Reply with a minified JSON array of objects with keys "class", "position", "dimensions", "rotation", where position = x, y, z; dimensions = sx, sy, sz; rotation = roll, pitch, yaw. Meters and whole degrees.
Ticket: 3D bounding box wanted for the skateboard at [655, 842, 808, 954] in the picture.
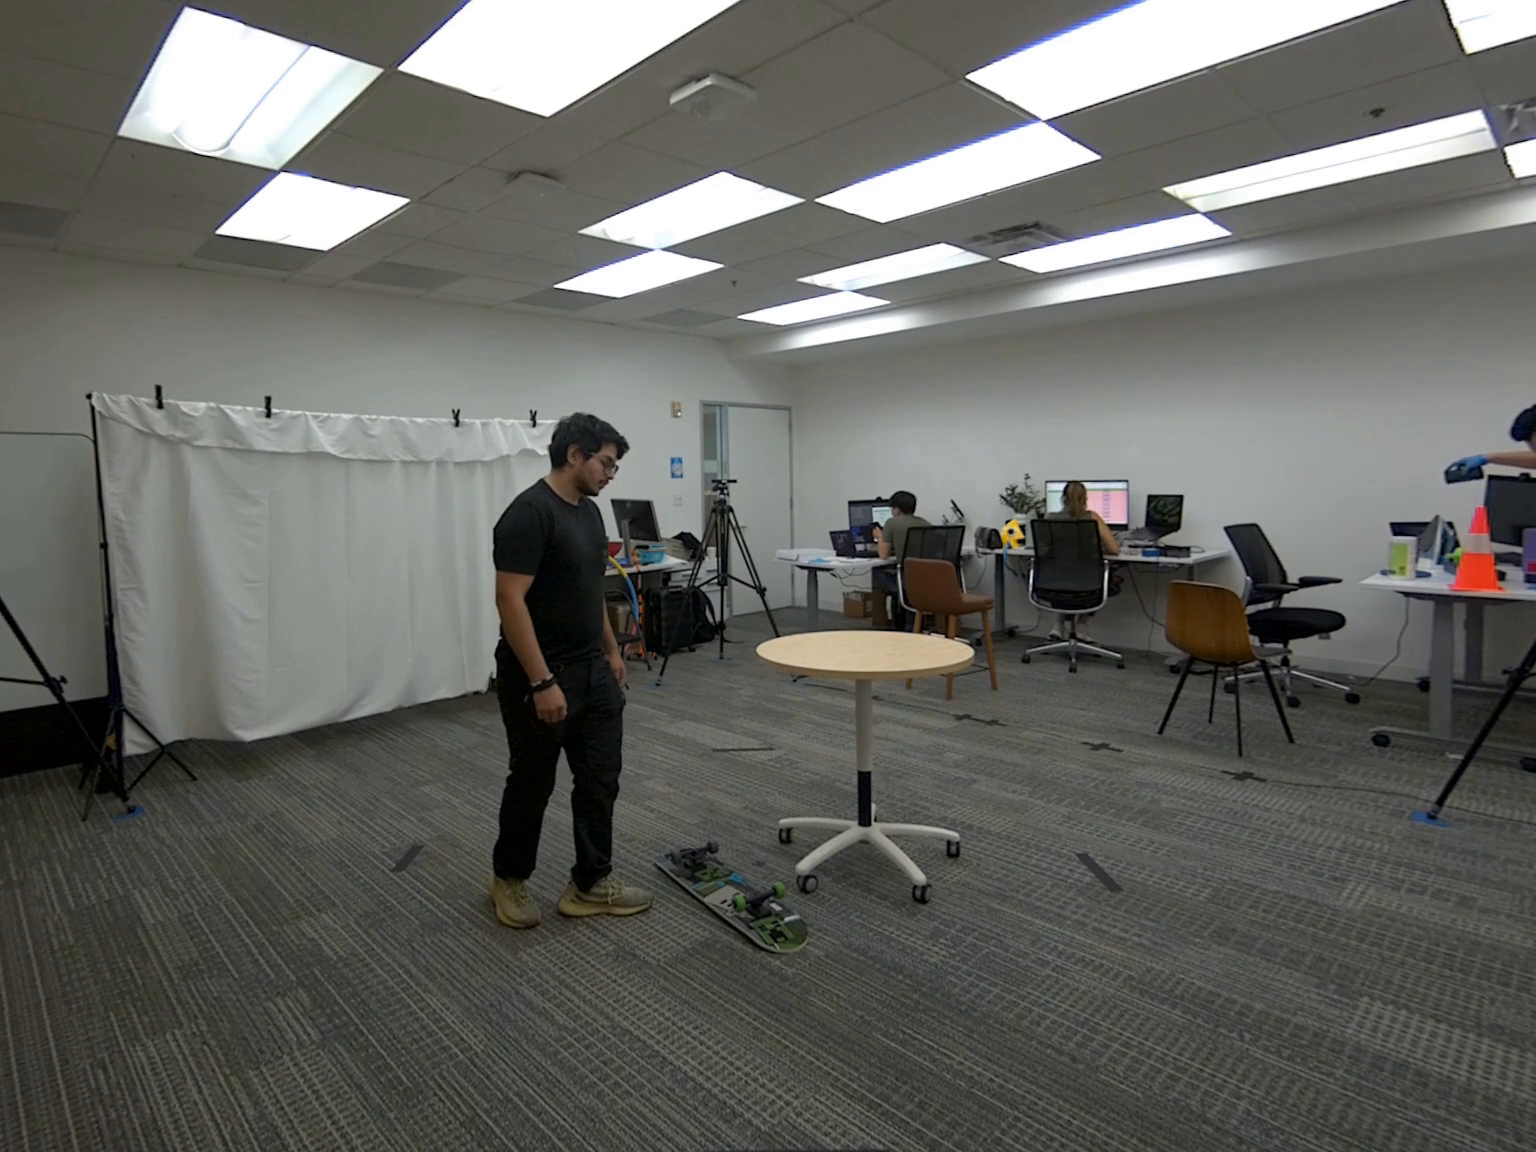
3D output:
[{"class":"skateboard","position":[-0.142,1.027,2.856],"dimensions":[0.189,0.110,0.808],"rotation":[-5,8,-33]}]
